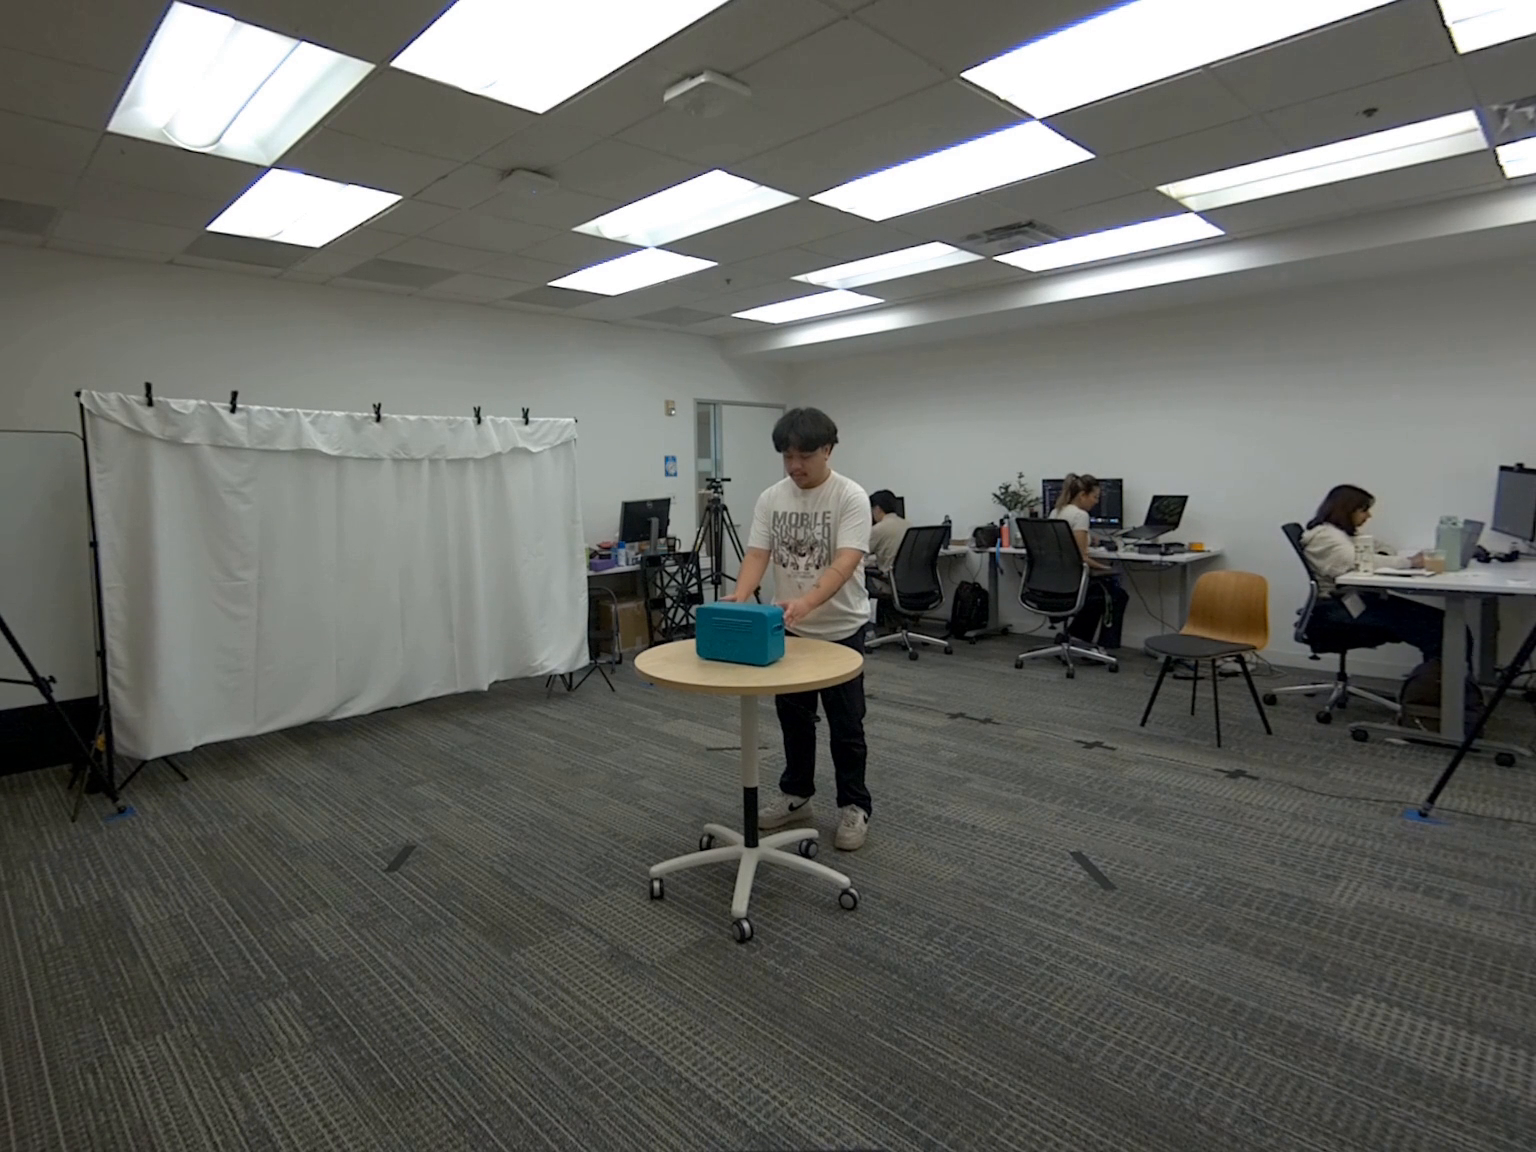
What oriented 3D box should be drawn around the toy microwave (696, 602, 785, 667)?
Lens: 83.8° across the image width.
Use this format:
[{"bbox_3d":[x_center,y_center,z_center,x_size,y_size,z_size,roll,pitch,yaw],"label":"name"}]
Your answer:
[{"bbox_3d":[-0.086,0.189,2.846,0.294,0.183,0.149,3,7,31],"label":"toy microwave"}]
